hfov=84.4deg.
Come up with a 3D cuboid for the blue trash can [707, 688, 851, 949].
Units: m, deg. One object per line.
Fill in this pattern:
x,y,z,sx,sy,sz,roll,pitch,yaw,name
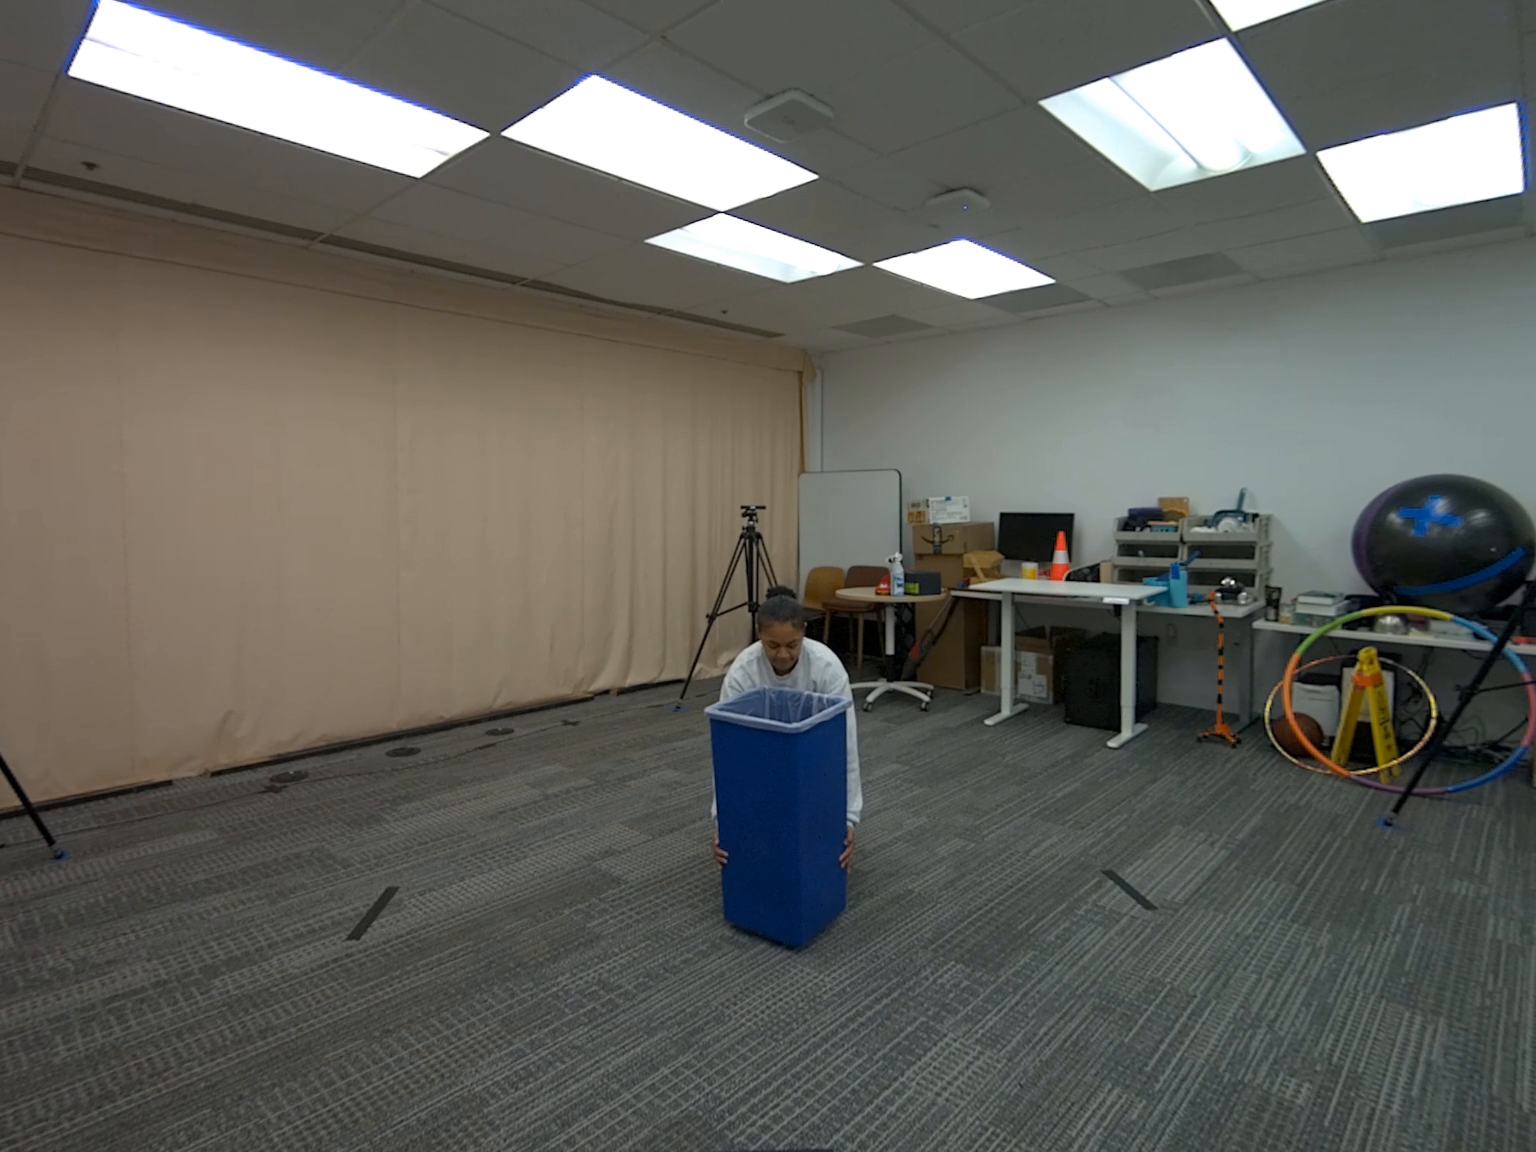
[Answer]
0.041,0.766,2.772,0.386,0.711,0.368,2,6,34,blue trash can
